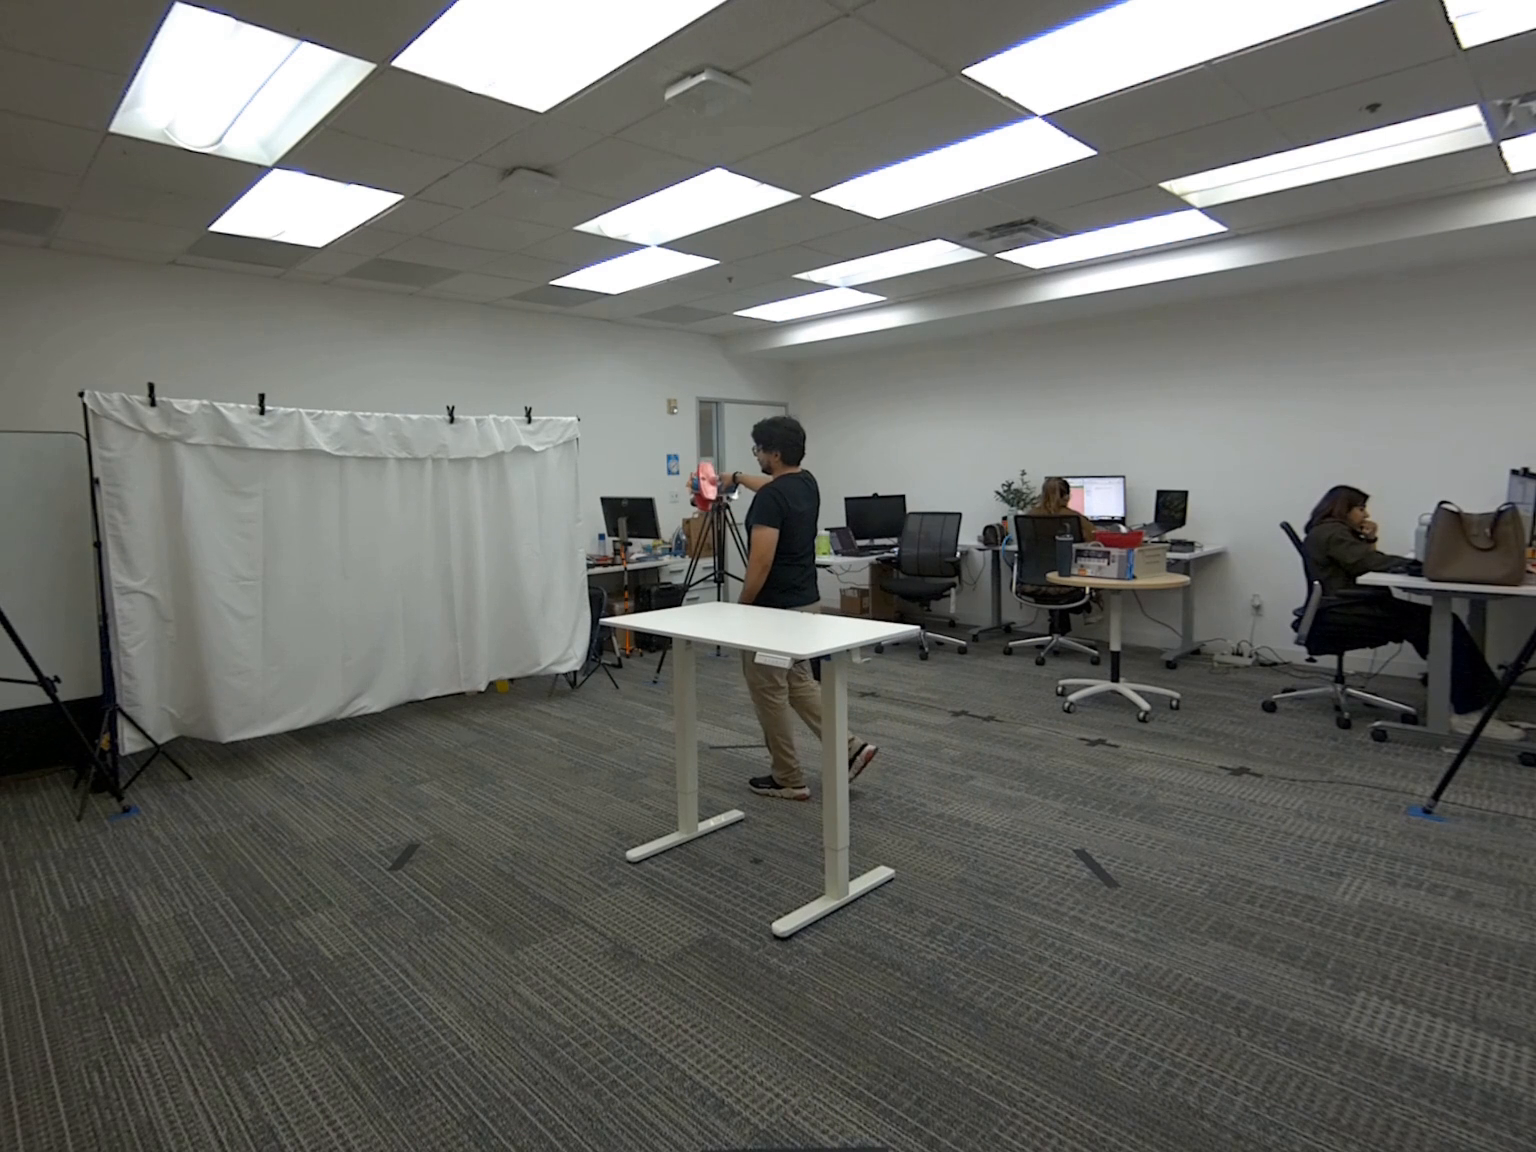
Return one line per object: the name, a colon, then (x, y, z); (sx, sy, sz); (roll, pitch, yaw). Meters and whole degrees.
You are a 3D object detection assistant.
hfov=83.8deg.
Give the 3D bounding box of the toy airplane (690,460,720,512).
toy airplane: (-0.278, -0.453, 4.292); (0.257, 0.259, 0.153); (-28, -29, -23)
